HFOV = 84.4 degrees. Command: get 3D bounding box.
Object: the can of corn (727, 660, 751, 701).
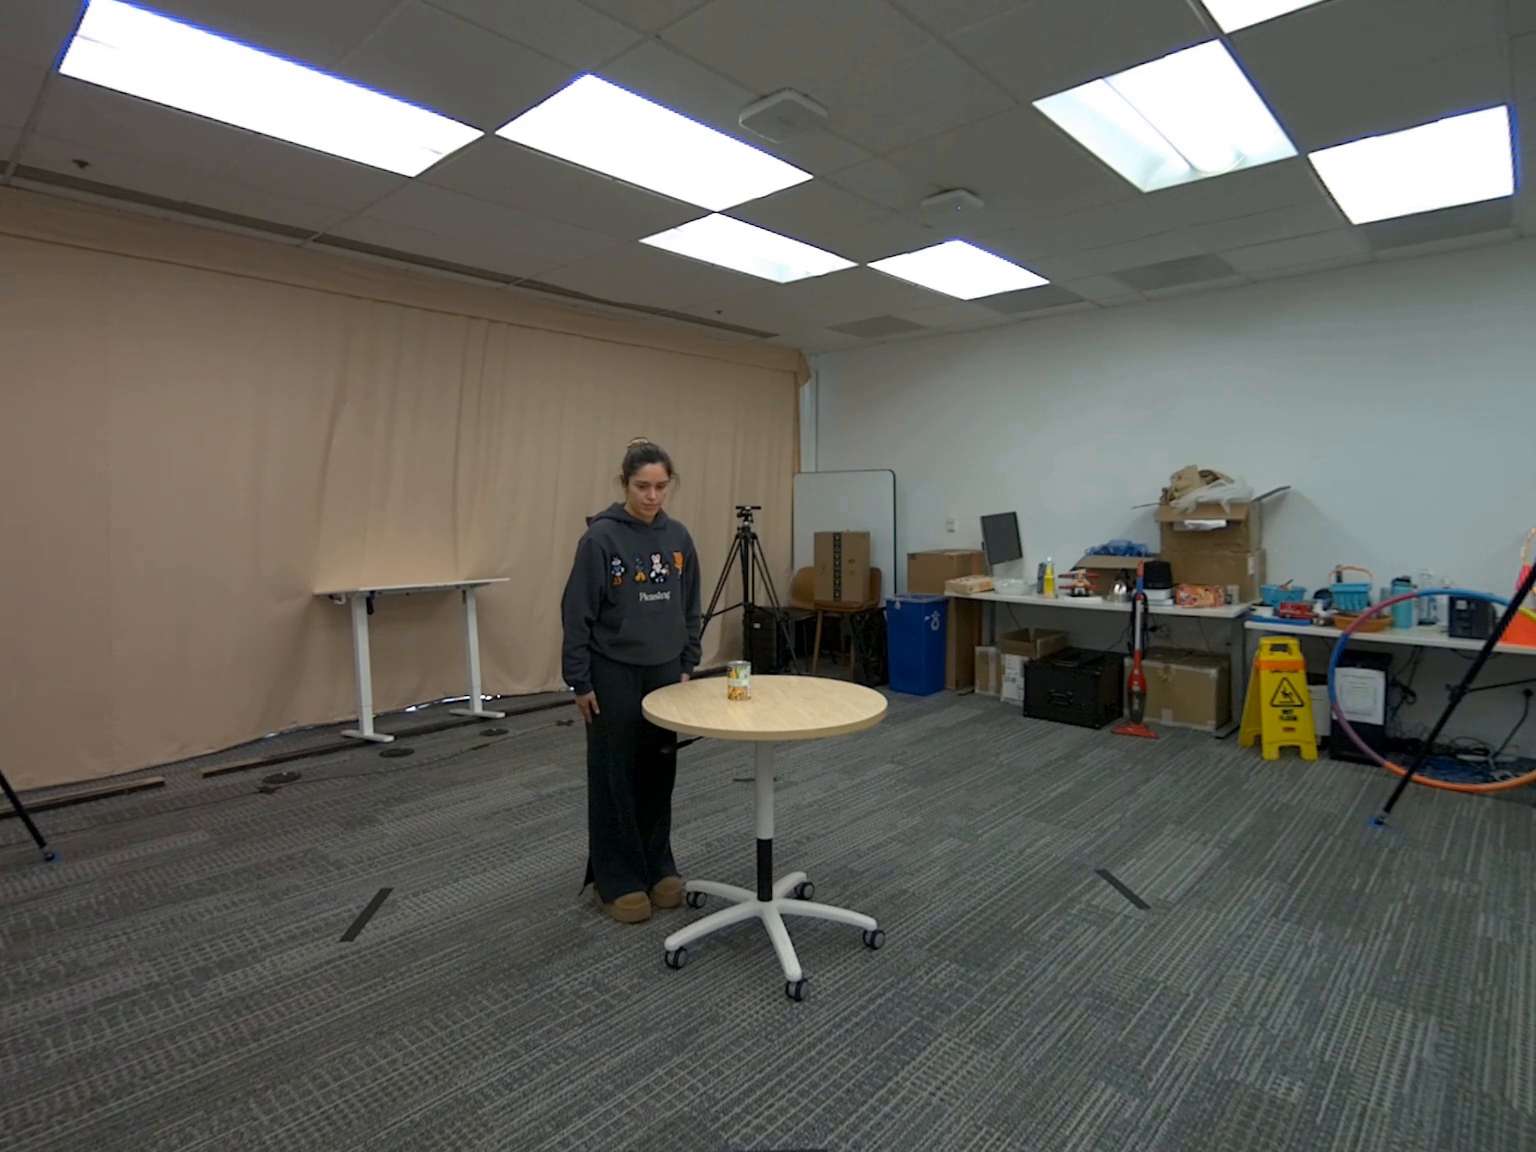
[{"bbox_3d":[-0.075,0.334,2.669,0.074,0.111,0.074,1,3,-2],"label":"can of corn"}]
